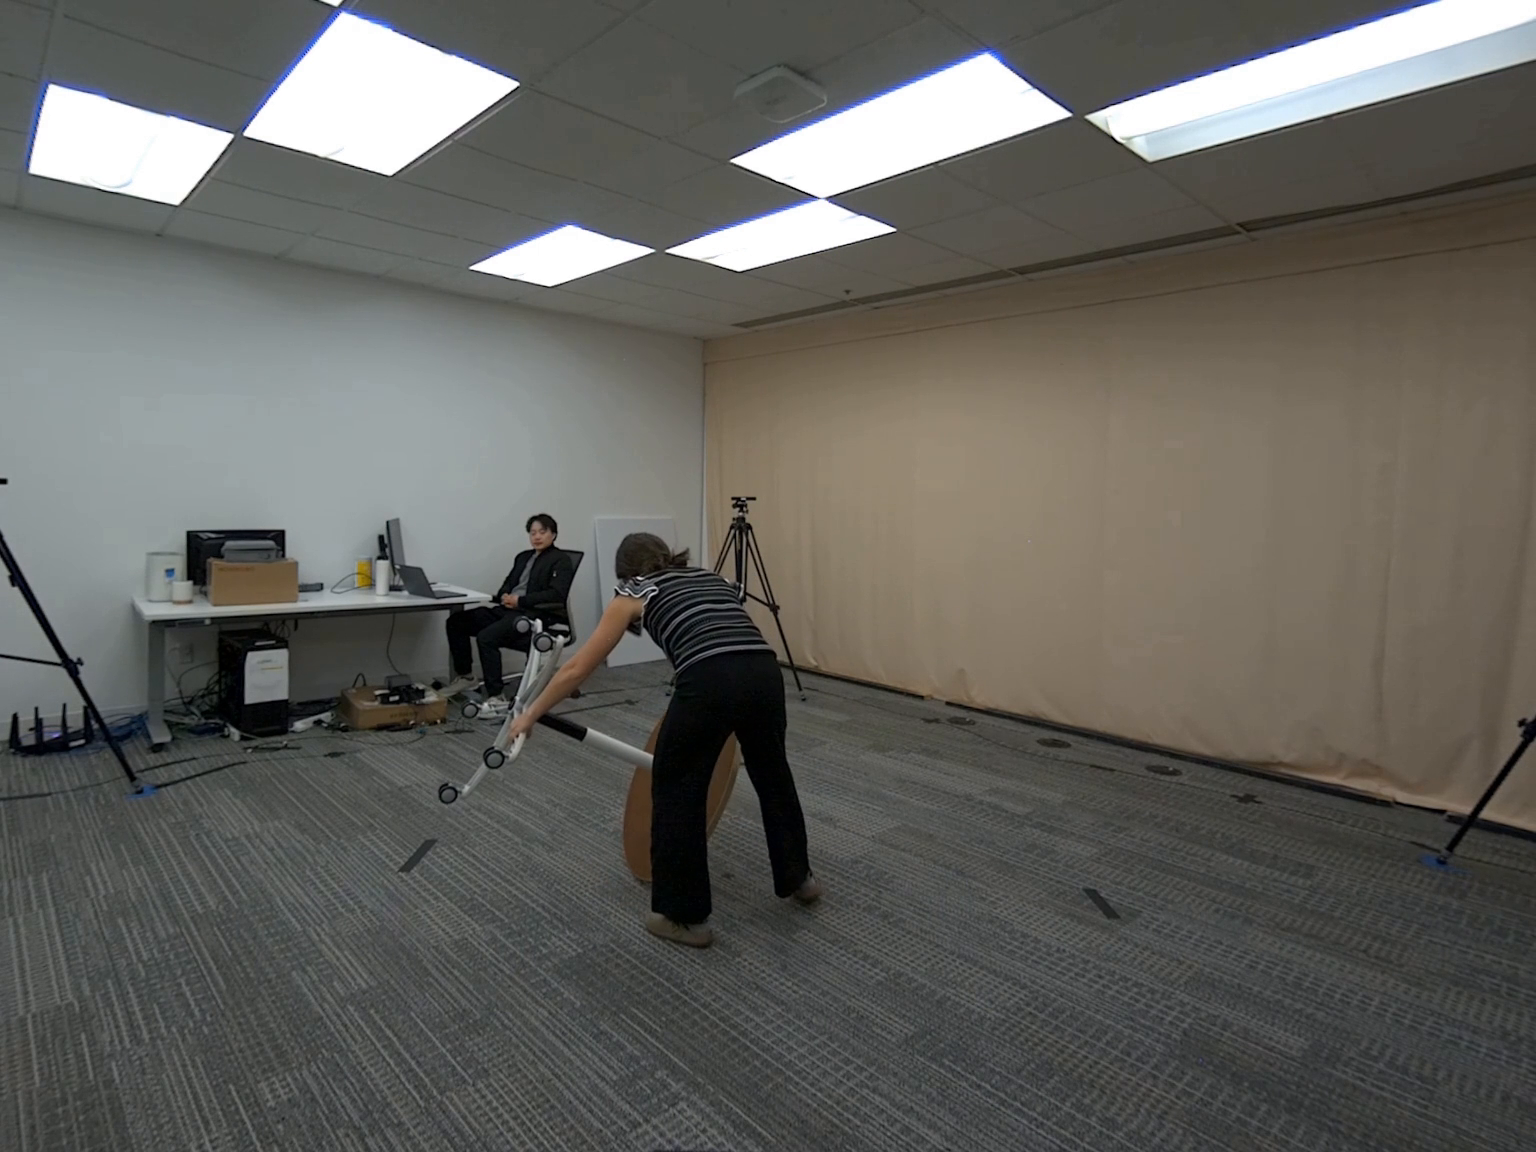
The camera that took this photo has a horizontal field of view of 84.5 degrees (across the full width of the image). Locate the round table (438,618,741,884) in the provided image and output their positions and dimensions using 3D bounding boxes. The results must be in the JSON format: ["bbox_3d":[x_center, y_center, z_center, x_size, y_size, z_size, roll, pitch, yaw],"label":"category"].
[{"bbox_3d":[-0.640,0.589,3.016,0.776,0.765,0.779,29,-8,-24],"label":"round table"}]
